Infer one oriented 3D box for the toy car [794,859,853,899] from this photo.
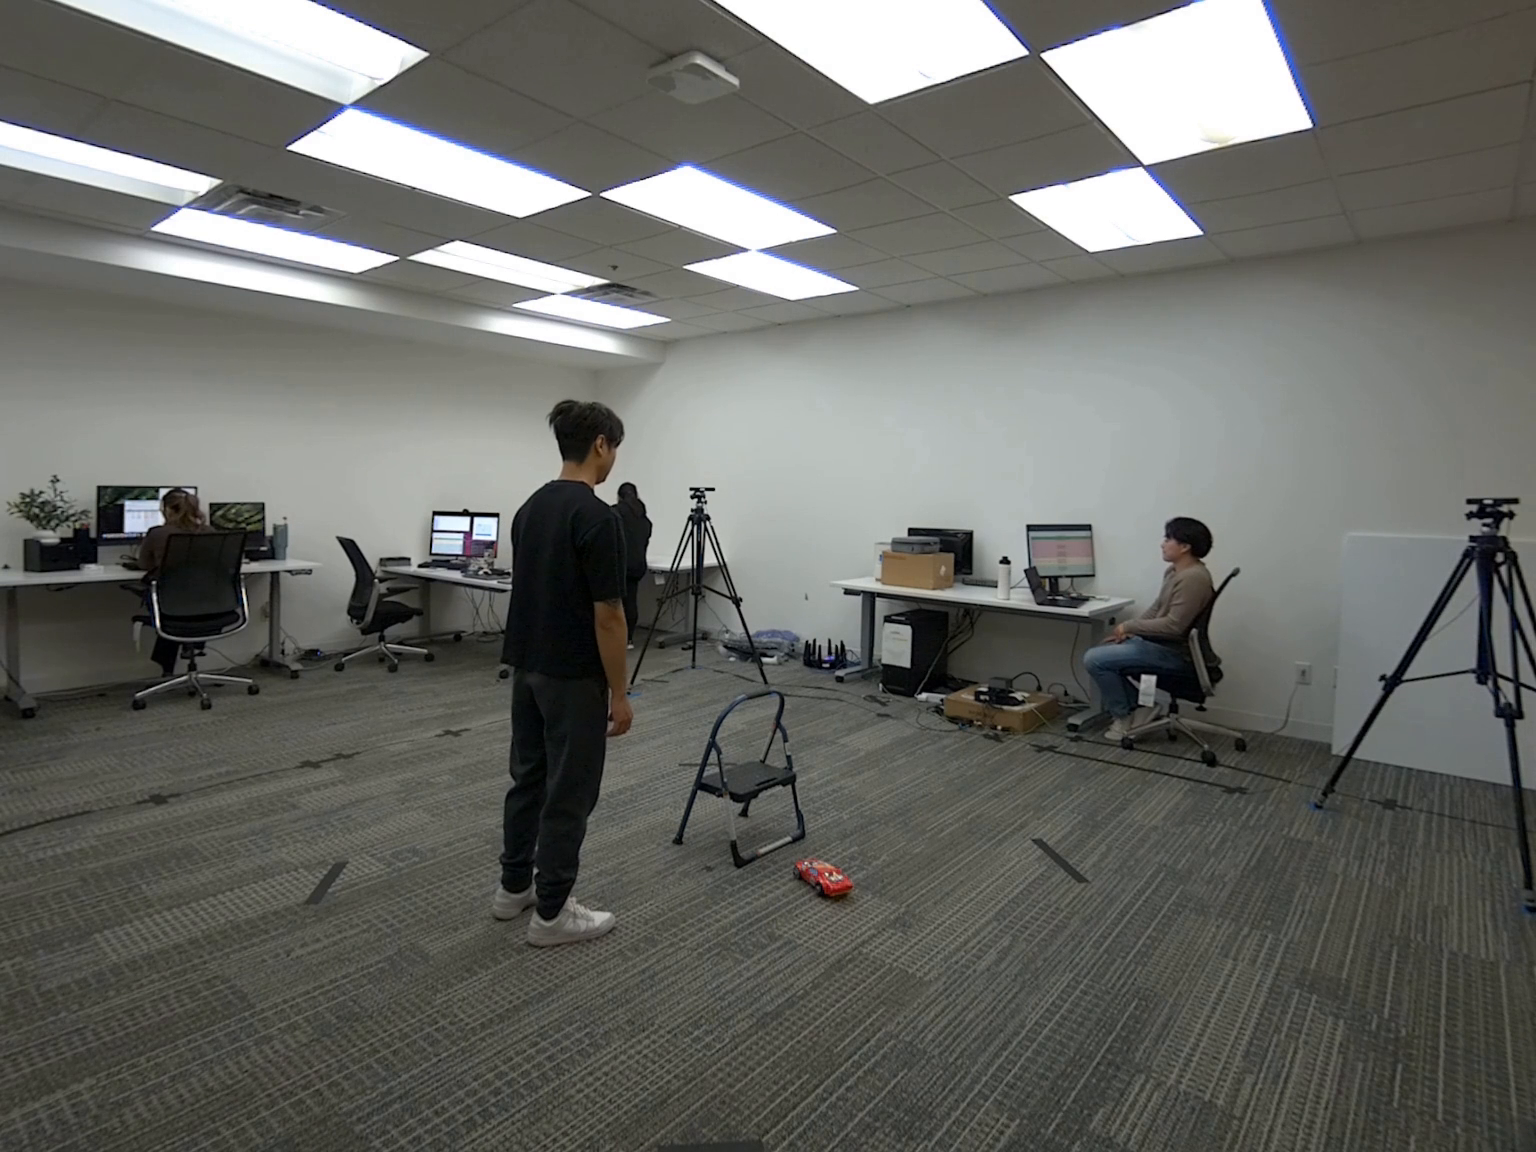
[{"bbox_3d":[0.190,1.056,2.980,0.127,0.084,0.259,0,-7,-29],"label":"toy car"}]
